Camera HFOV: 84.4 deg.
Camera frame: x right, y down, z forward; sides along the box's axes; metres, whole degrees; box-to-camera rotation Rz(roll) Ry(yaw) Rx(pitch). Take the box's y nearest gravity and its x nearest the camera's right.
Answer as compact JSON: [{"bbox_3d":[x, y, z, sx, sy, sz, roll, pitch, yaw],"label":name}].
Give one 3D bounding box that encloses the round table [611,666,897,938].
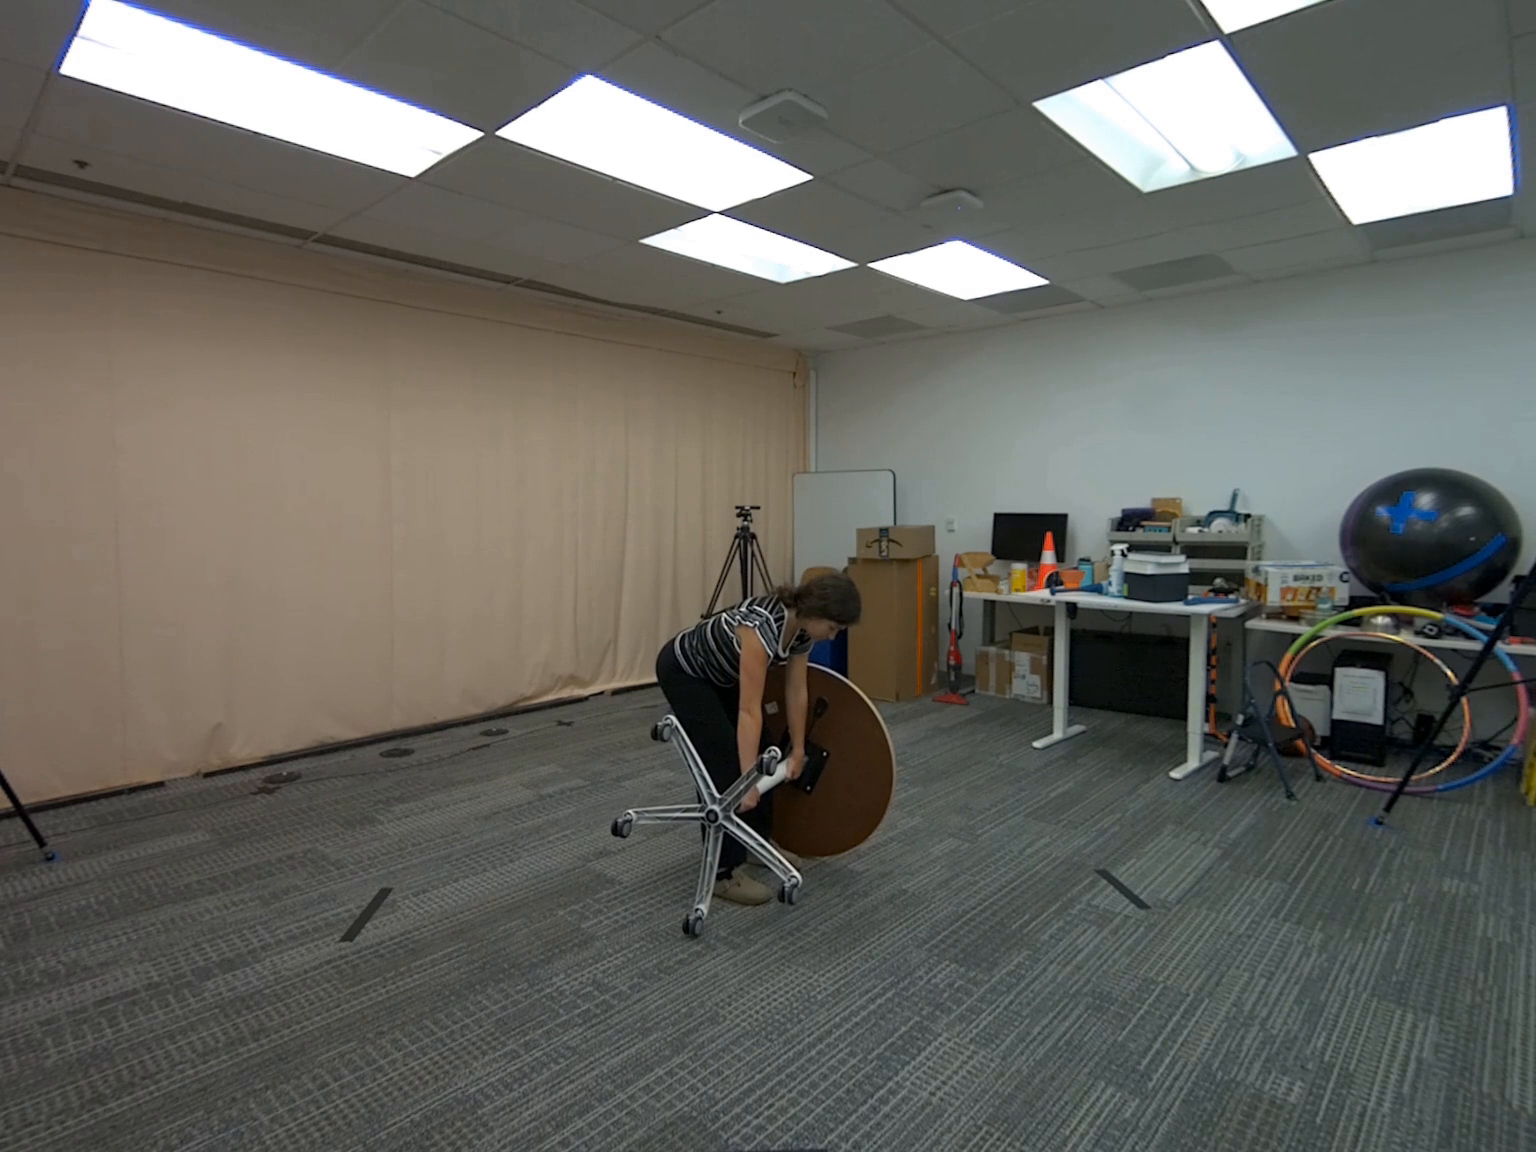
[{"bbox_3d":[-0.040,0.759,2.990,0.786,0.762,0.774,2,6,29],"label":"round table"}]
